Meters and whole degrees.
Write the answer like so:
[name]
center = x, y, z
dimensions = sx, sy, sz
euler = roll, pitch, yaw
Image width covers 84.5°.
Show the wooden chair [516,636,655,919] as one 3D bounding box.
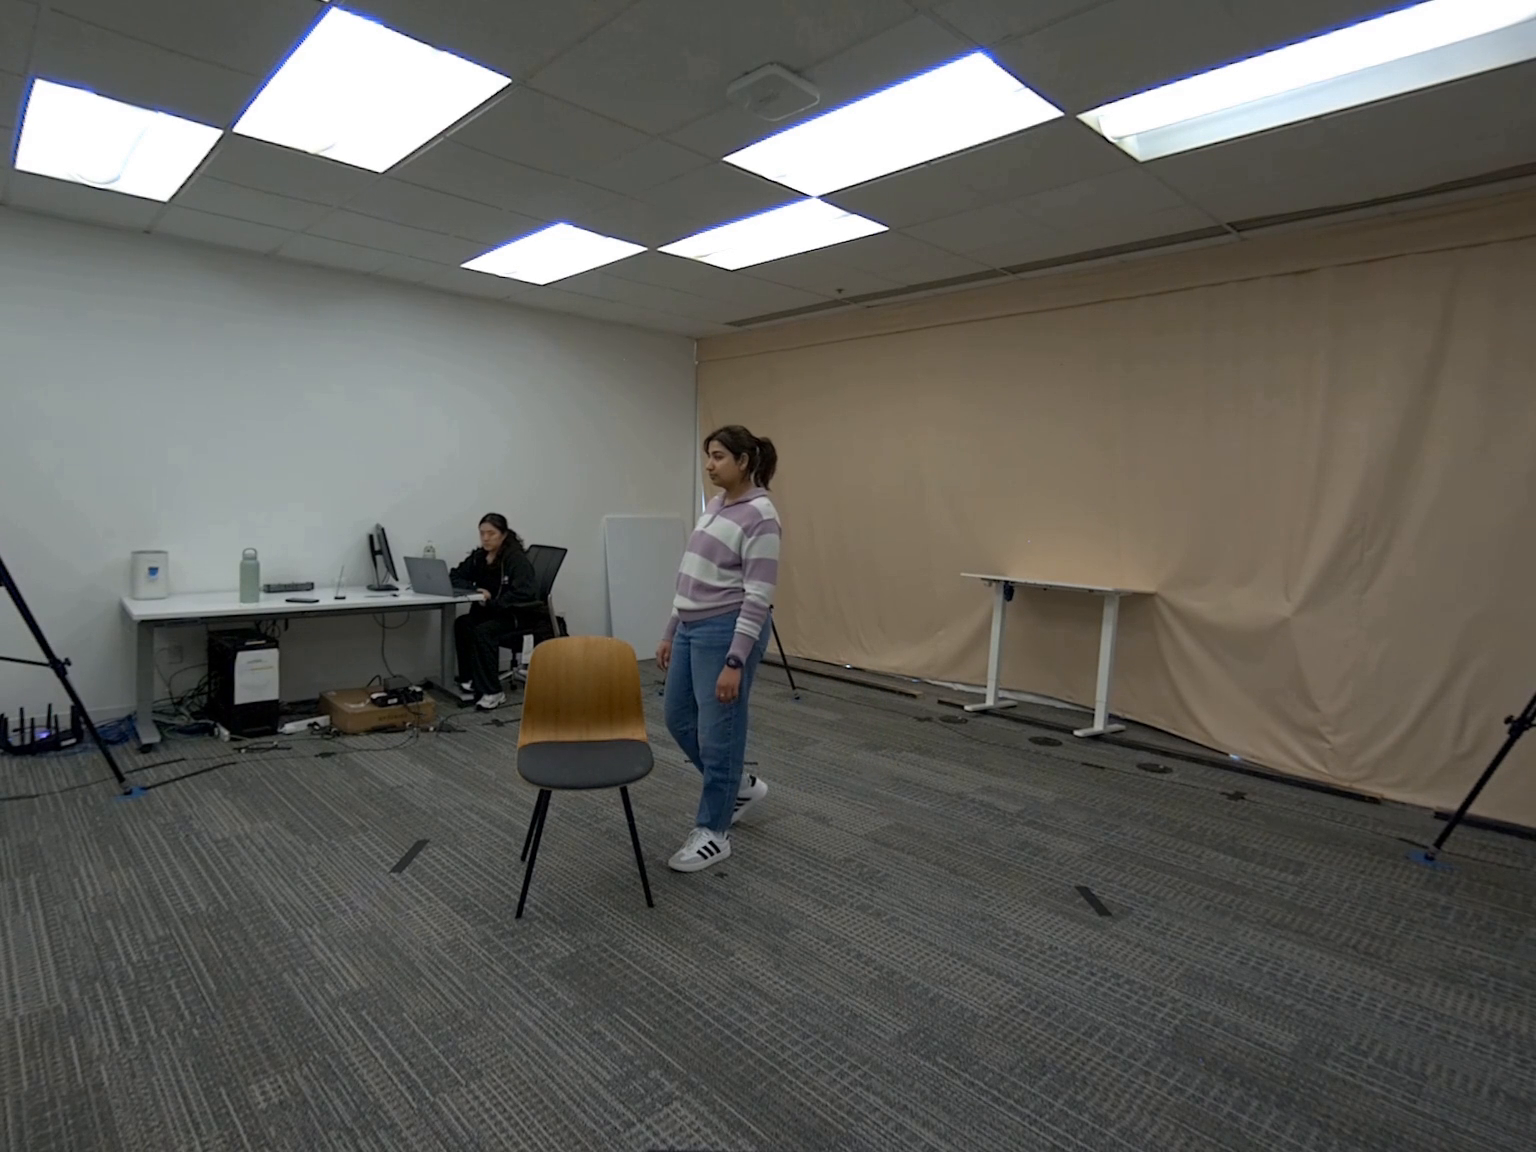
[wooden chair]
center = -0.648, 0.680, 2.967
dimensions = 0.473, 0.878, 0.528
euler = 1, 0, -14
